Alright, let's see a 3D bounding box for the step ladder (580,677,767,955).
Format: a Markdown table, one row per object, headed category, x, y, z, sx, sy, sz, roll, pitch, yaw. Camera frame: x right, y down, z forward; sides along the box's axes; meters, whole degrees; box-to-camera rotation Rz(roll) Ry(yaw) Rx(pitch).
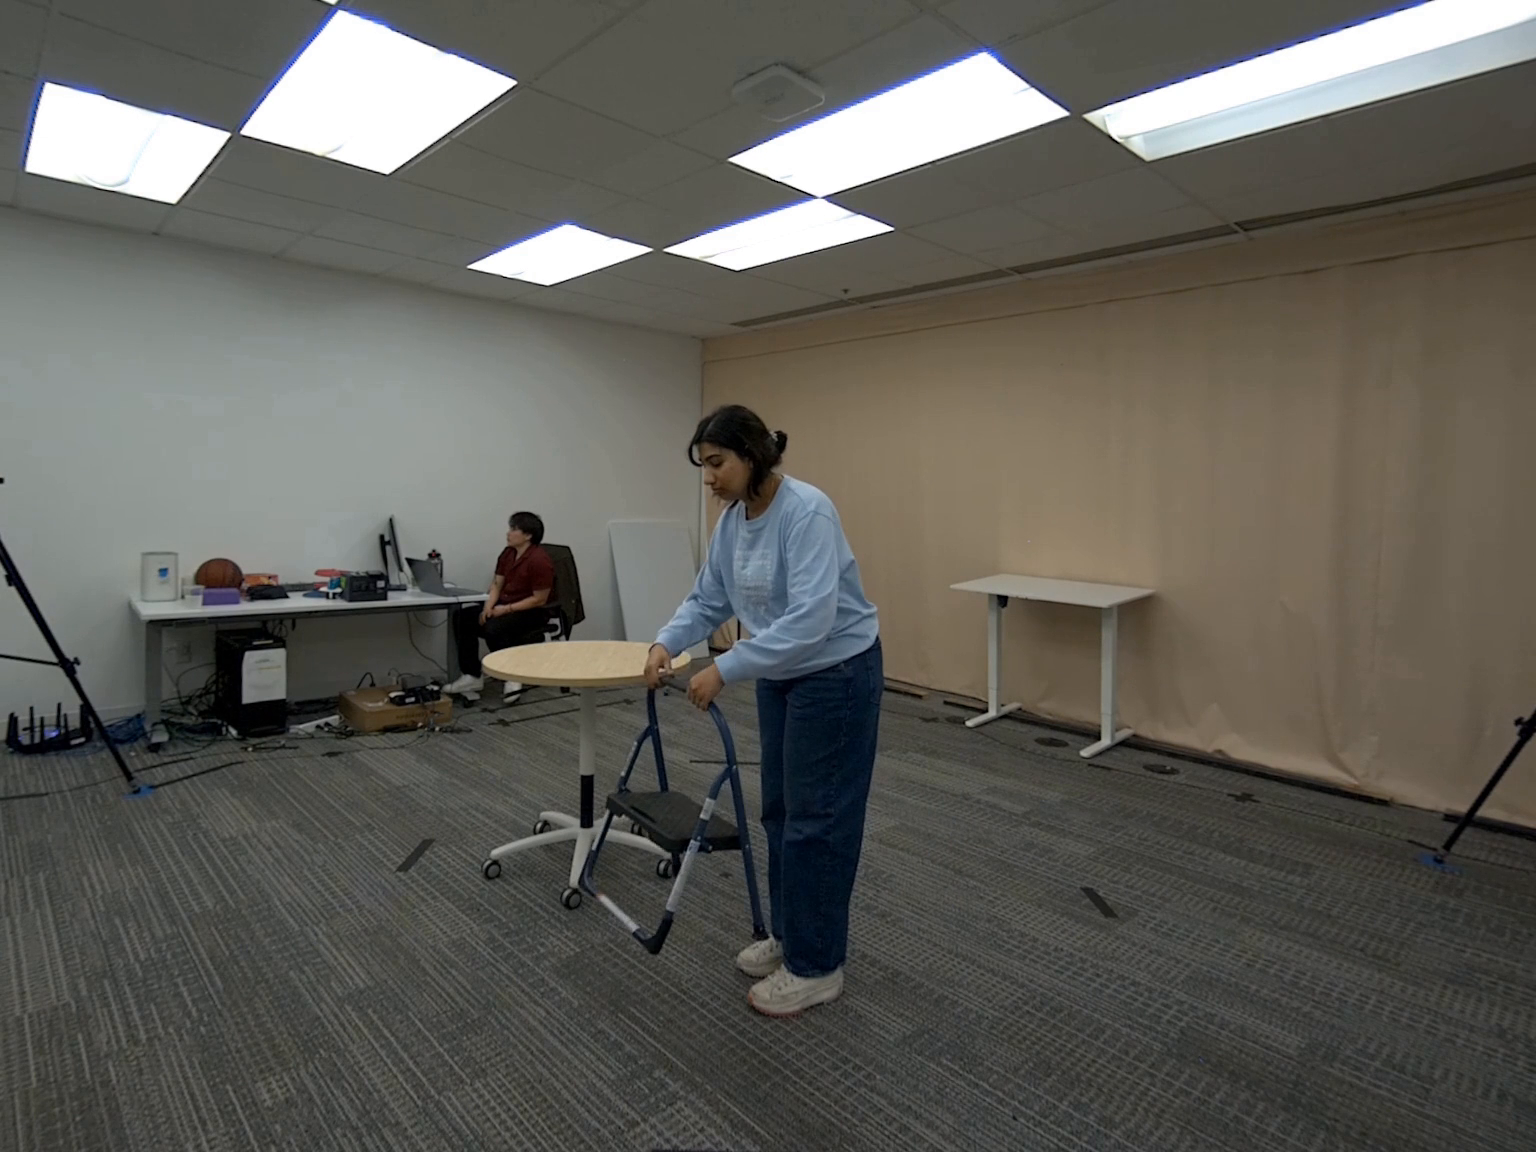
| category | x | y | z | sx | sy | sz | roll | pitch | yaw |
| --- | --- | --- | --- | --- | --- | --- | --- | --- | --- |
| step ladder | -0.220 | 0.589 | 2.213 | 0.340 | 0.606 | 0.441 | 10 | -1 | -38 |
